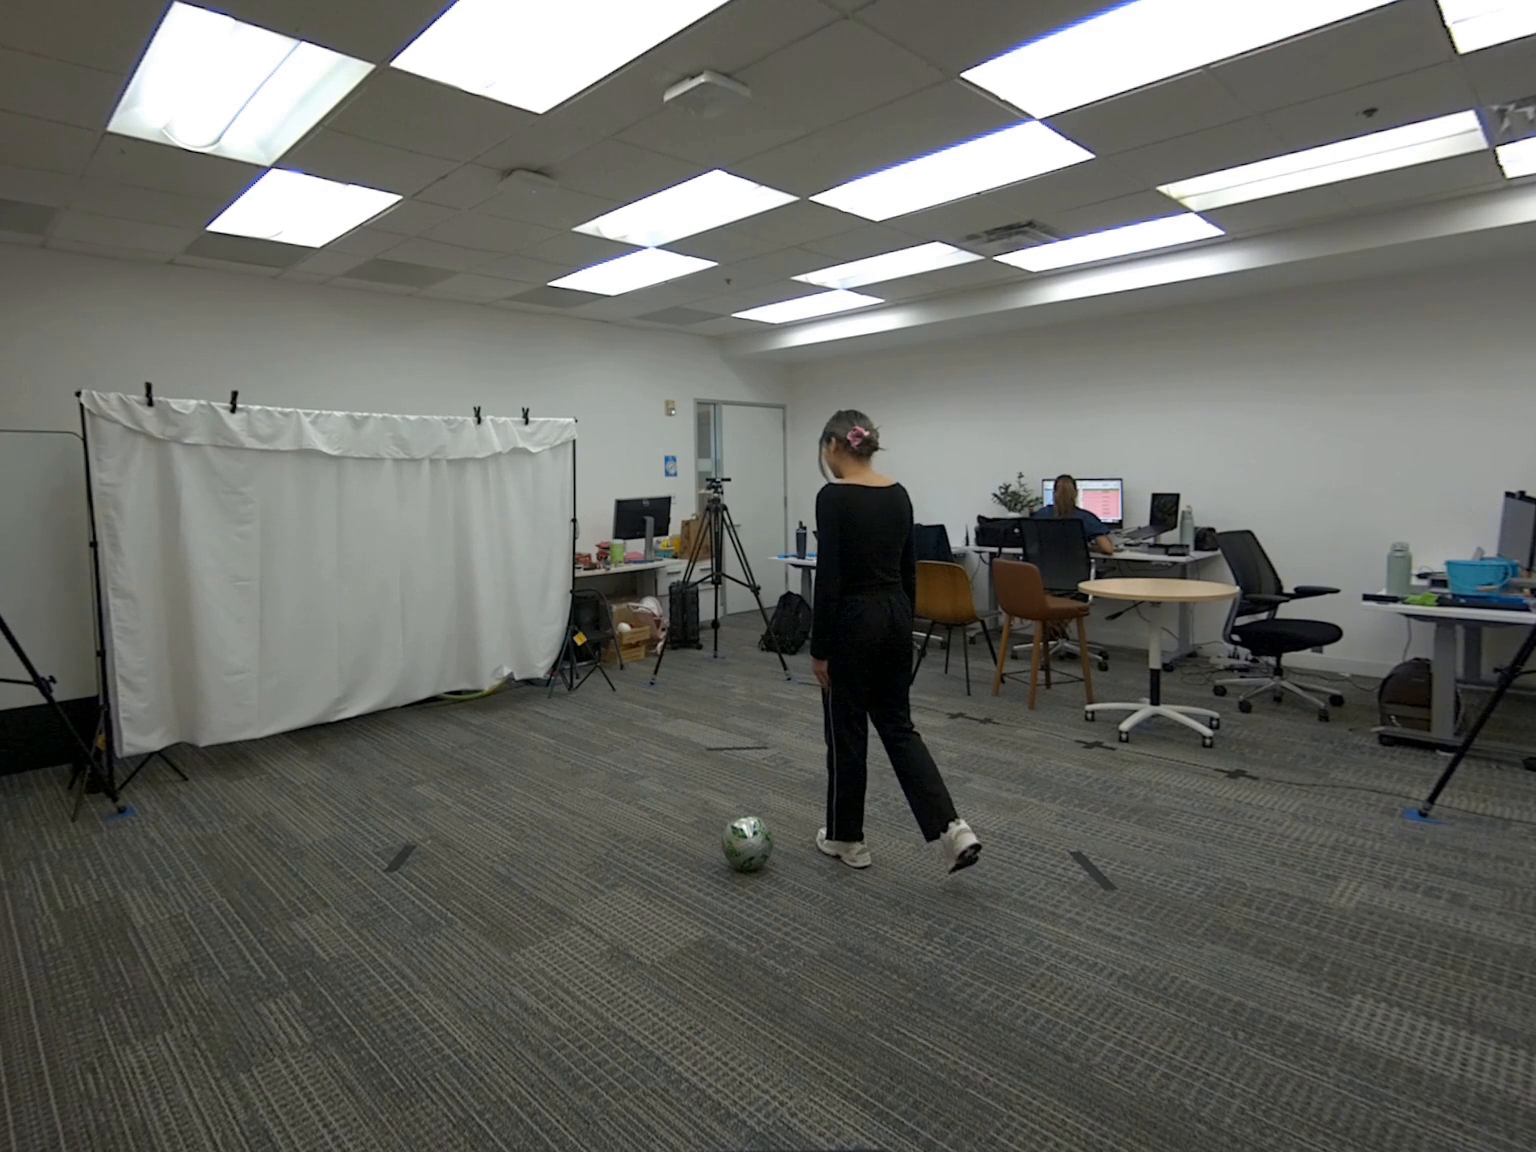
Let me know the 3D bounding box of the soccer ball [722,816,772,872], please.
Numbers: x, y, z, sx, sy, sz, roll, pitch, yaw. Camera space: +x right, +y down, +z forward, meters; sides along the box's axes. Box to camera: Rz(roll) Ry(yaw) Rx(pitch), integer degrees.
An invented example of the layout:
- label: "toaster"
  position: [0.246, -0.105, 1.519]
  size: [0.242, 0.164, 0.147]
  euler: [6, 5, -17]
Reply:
- label: "soccer ball"
  position: [-0.071, 0.952, 3.065]
  size: [0.187, 0.187, 0.188]
  euler: [-1, 5, -2]
